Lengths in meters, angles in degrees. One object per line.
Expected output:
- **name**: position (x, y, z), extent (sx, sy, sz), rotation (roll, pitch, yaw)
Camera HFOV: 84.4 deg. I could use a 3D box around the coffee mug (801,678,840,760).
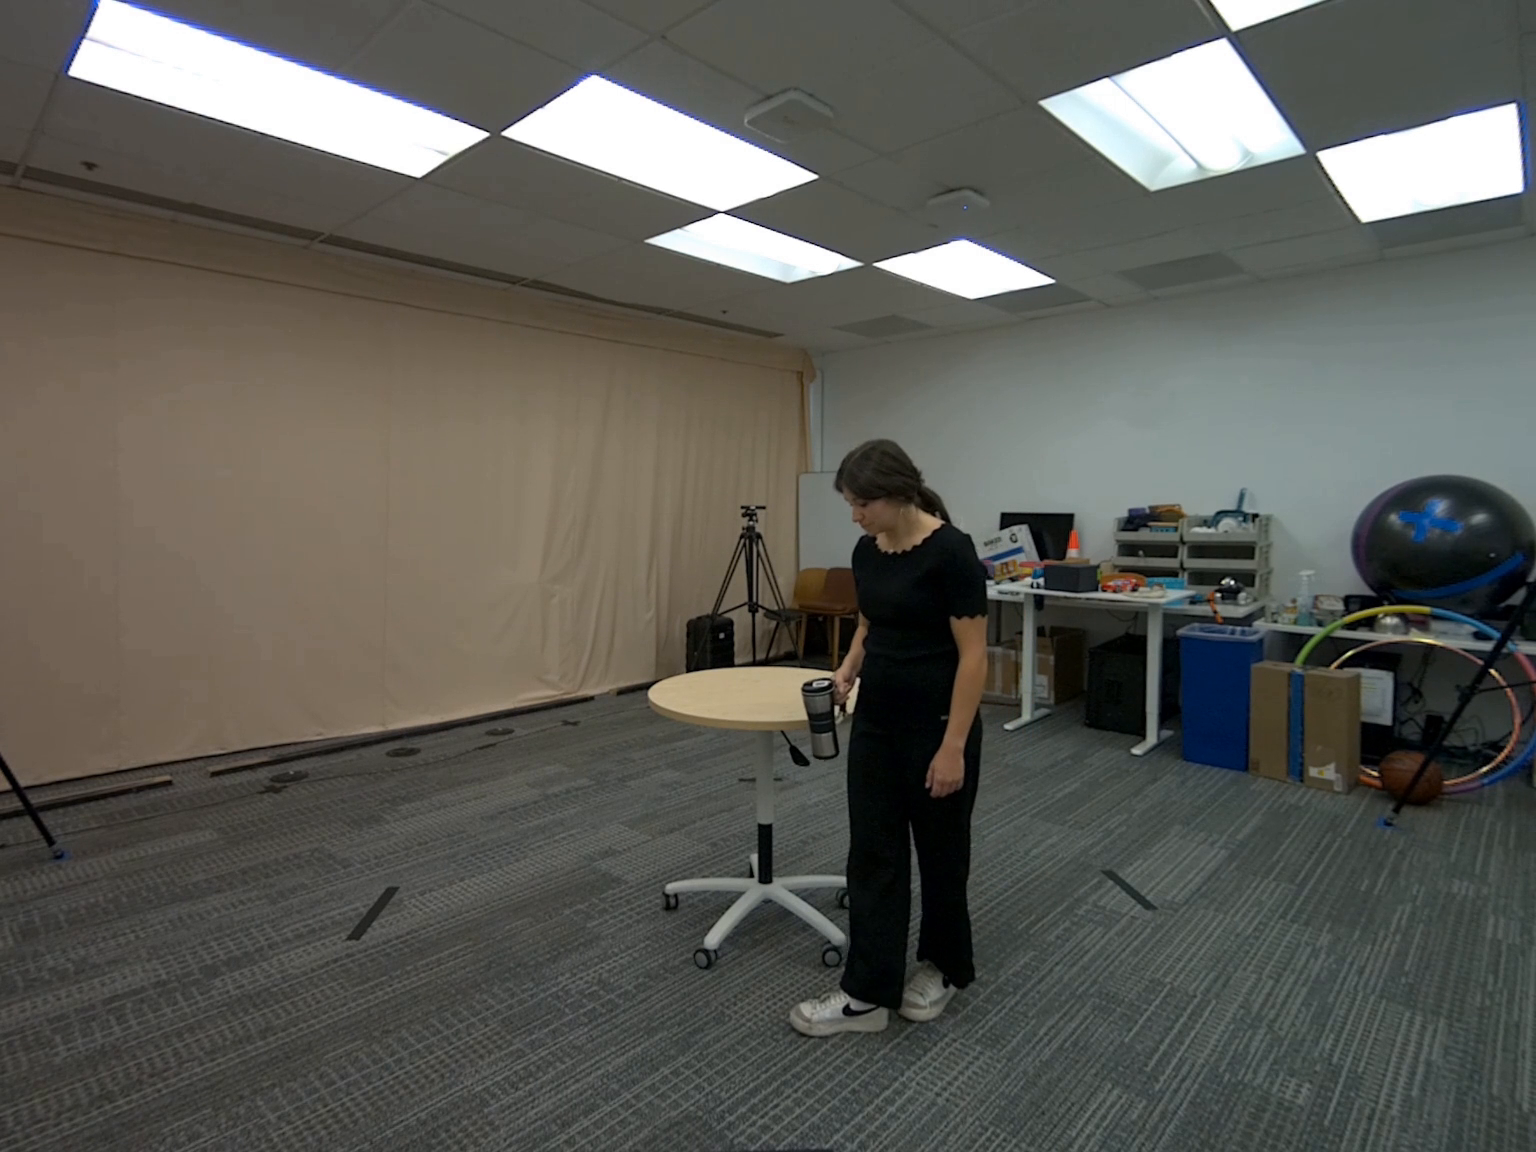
- **coffee mug**: position (0.169, 0.384, 2.218), extent (0.125, 0.202, 0.086), rotation (-5, 6, 32)
